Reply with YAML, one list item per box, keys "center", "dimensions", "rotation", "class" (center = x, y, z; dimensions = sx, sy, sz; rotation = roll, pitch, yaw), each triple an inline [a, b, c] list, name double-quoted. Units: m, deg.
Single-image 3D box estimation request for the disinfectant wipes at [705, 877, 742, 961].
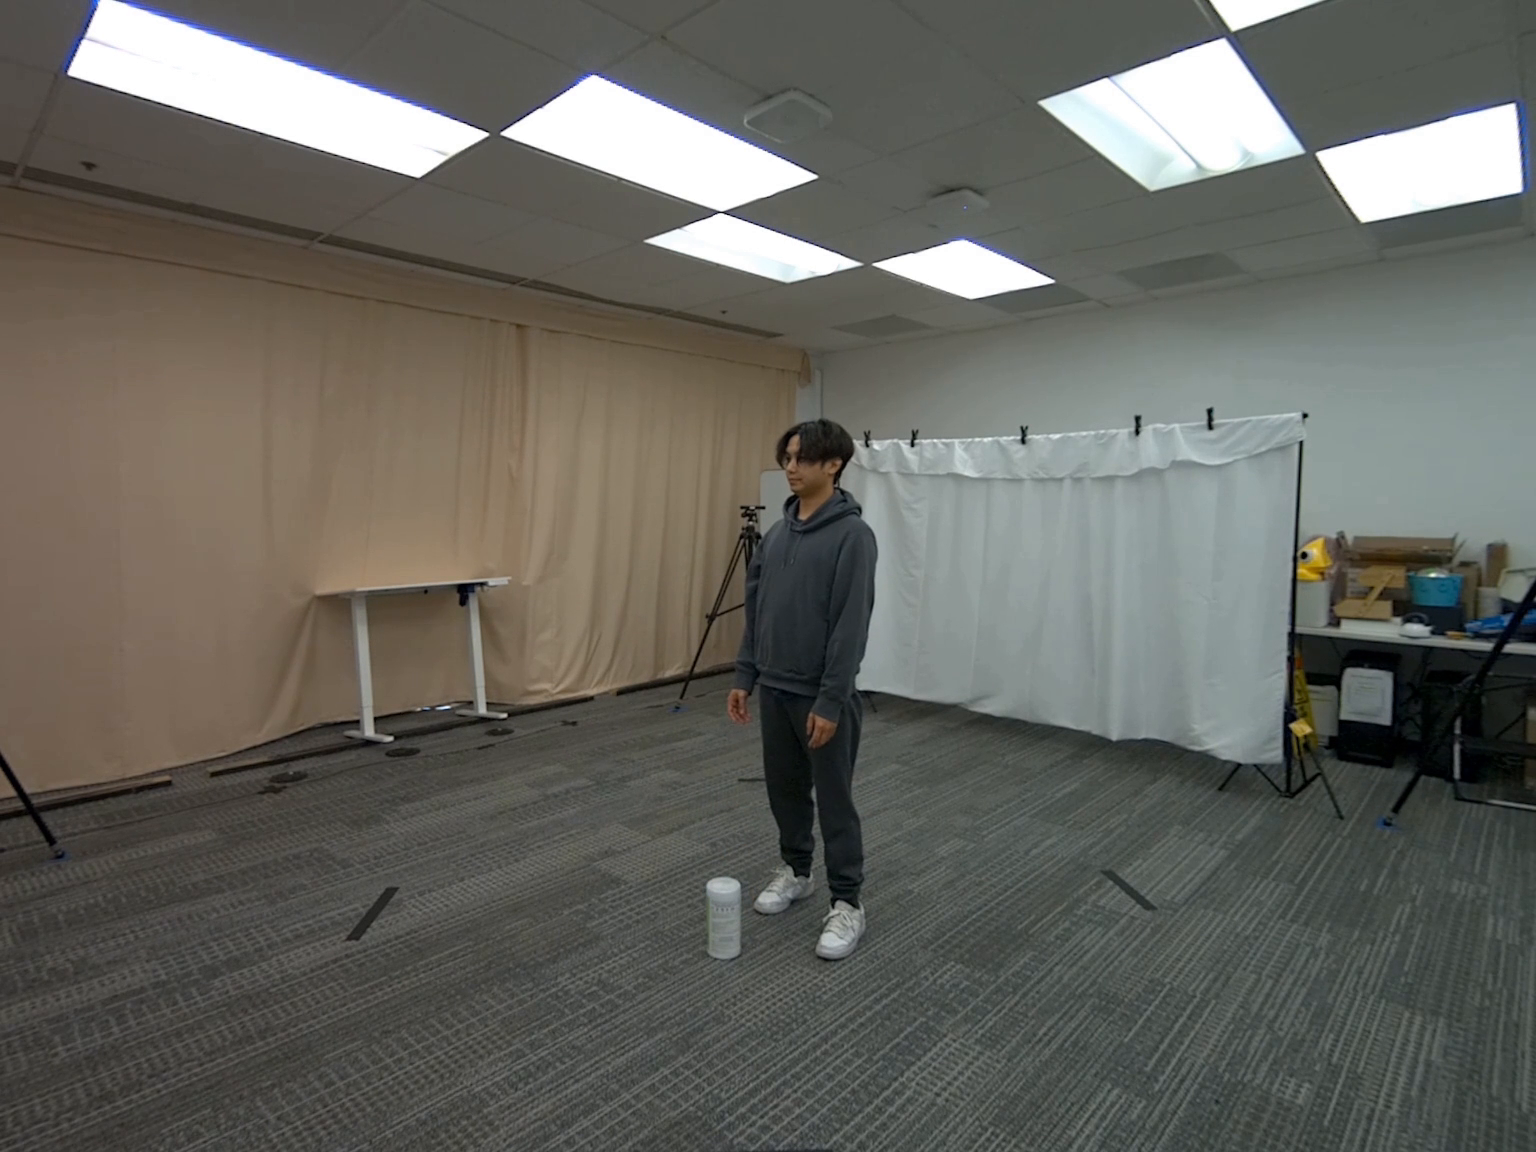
- center: [-0.130, 1.071, 2.623]
  dimensions: [0.118, 0.217, 0.118]
  rotation: [-1, 2, -2]
  class: "disinfectant wipes"
